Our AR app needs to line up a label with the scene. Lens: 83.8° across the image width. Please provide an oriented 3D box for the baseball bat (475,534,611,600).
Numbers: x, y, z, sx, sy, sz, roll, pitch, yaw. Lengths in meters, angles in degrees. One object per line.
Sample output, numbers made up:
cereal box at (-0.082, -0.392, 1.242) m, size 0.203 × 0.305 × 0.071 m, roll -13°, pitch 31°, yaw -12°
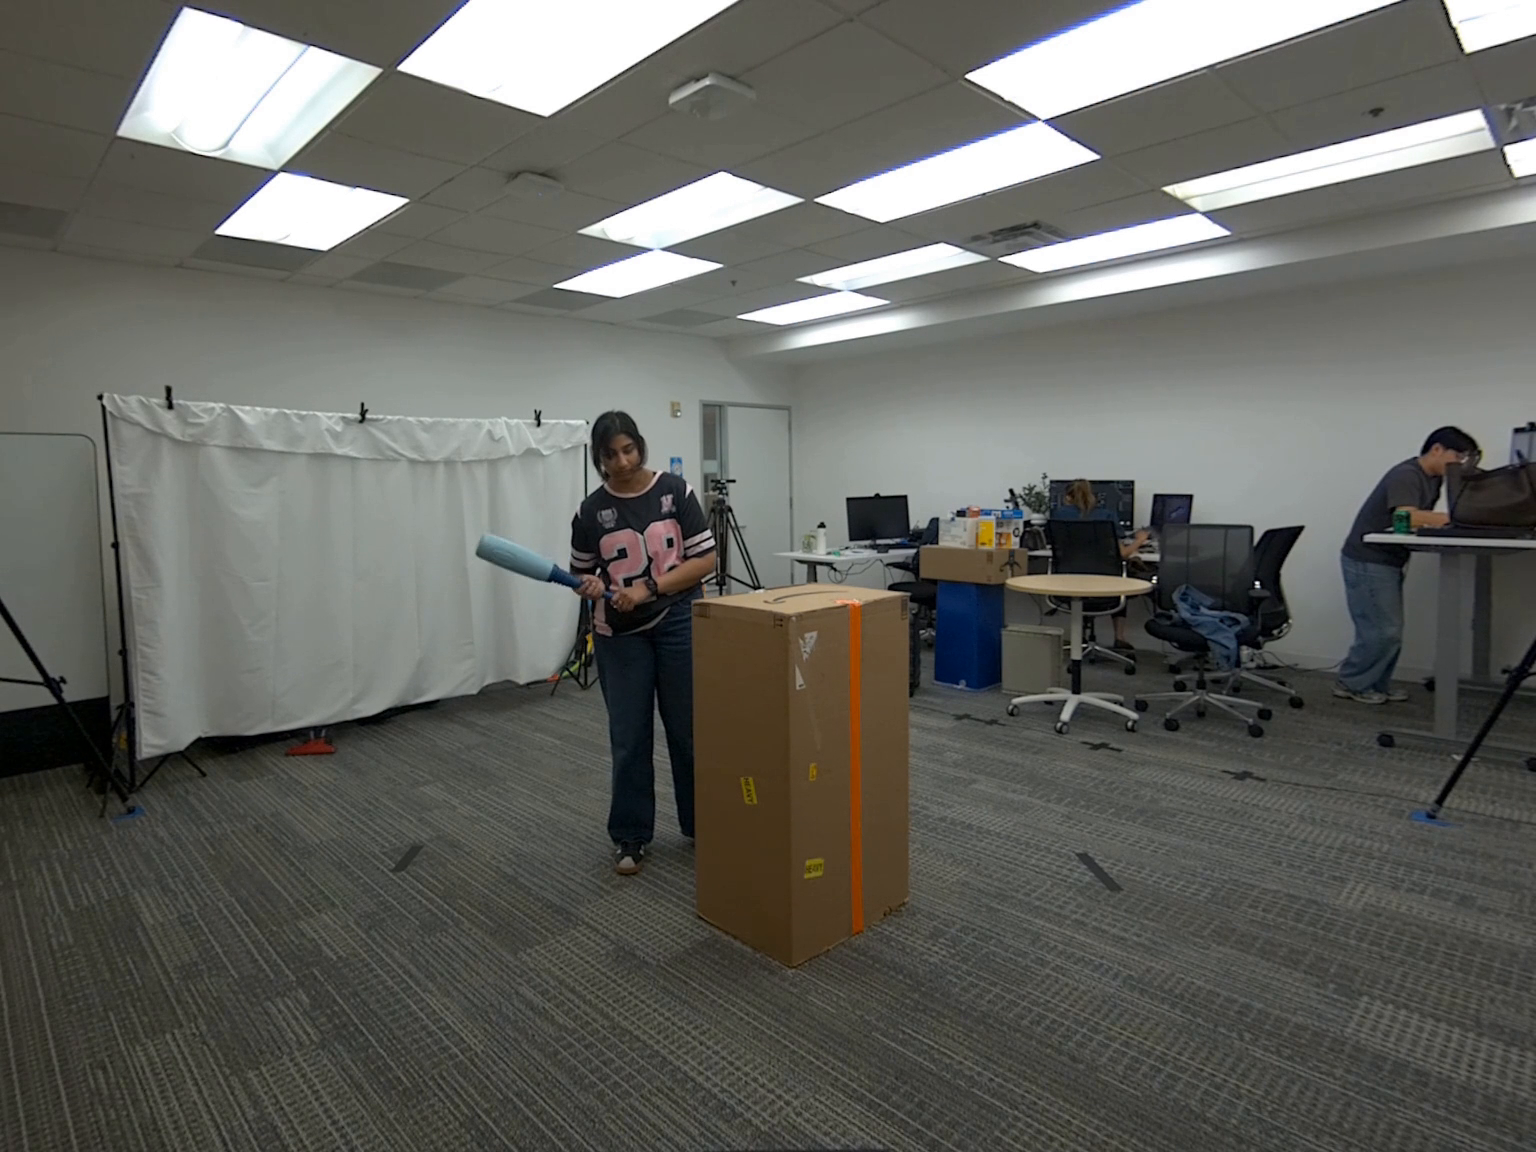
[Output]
baseball bat at (-0.708, 0.005, 2.872) m, size 0.531 × 0.089 × 0.091 m, roll 24°, pitch -4°, yaw -18°
